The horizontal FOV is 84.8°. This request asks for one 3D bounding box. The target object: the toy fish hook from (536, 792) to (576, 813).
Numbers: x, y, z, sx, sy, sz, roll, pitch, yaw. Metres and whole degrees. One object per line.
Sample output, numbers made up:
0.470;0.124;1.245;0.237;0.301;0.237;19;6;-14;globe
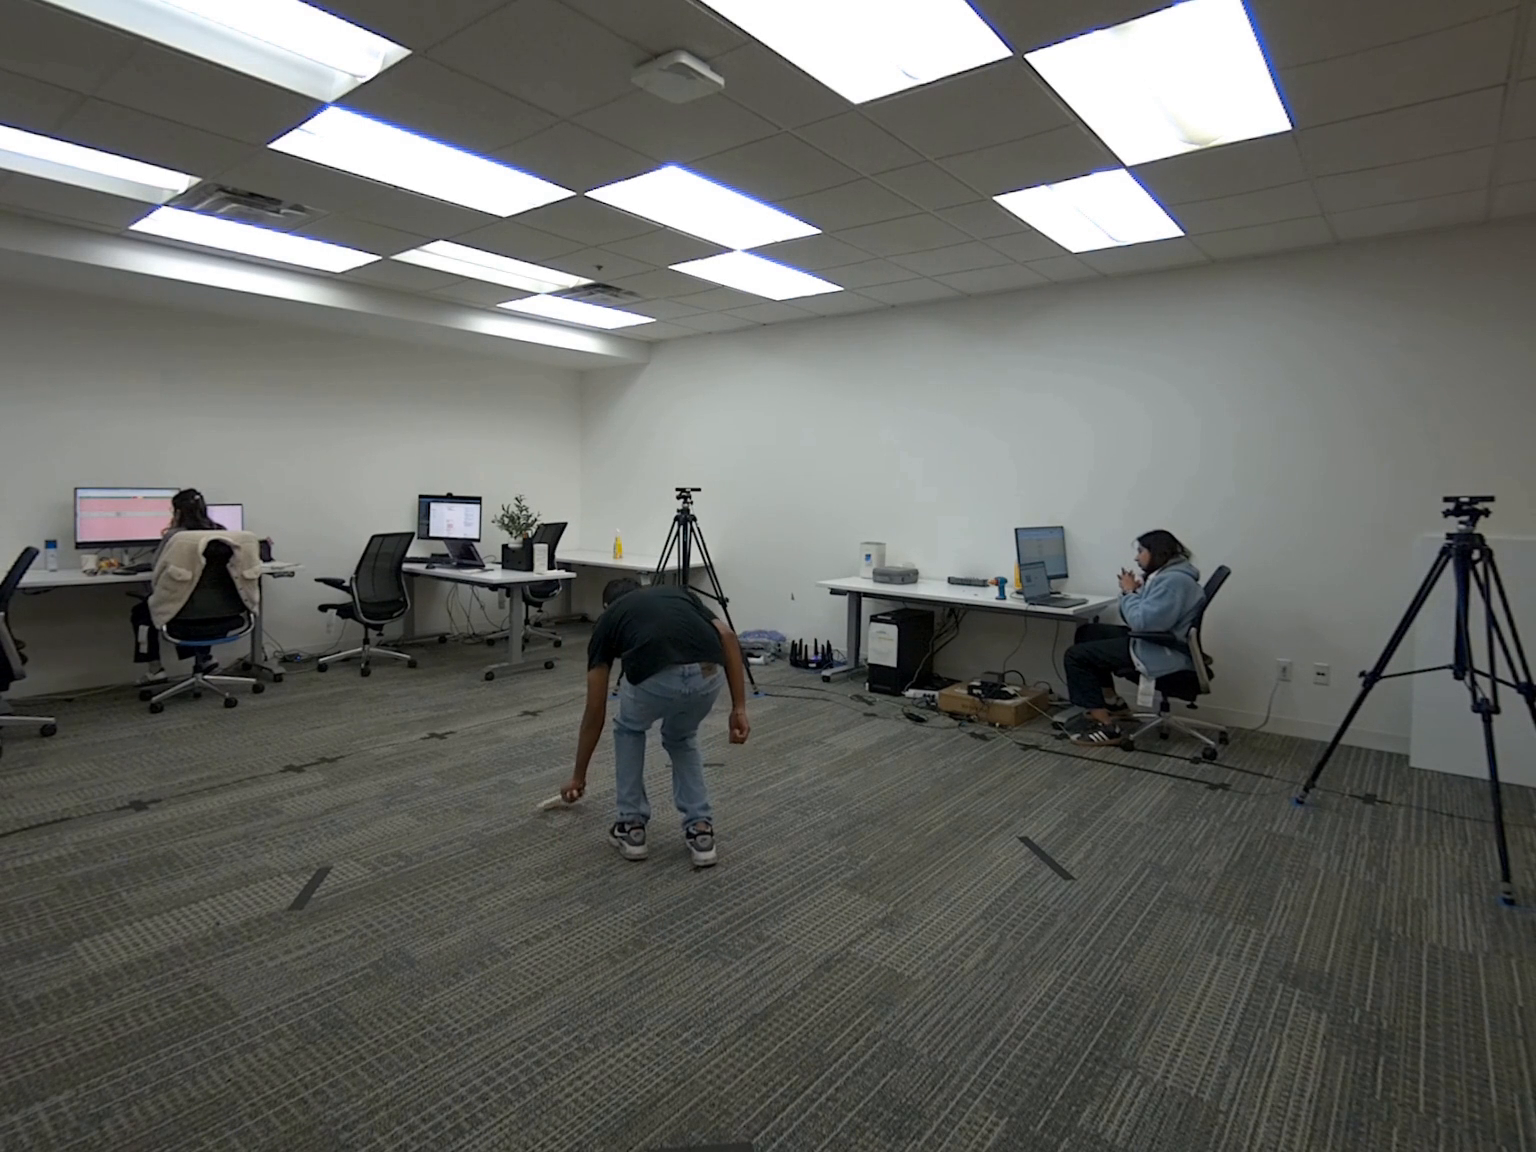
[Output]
-0.852;0.893;3.489;0.222;0.049;0.504;-20;-9;-14;toy fish hook
